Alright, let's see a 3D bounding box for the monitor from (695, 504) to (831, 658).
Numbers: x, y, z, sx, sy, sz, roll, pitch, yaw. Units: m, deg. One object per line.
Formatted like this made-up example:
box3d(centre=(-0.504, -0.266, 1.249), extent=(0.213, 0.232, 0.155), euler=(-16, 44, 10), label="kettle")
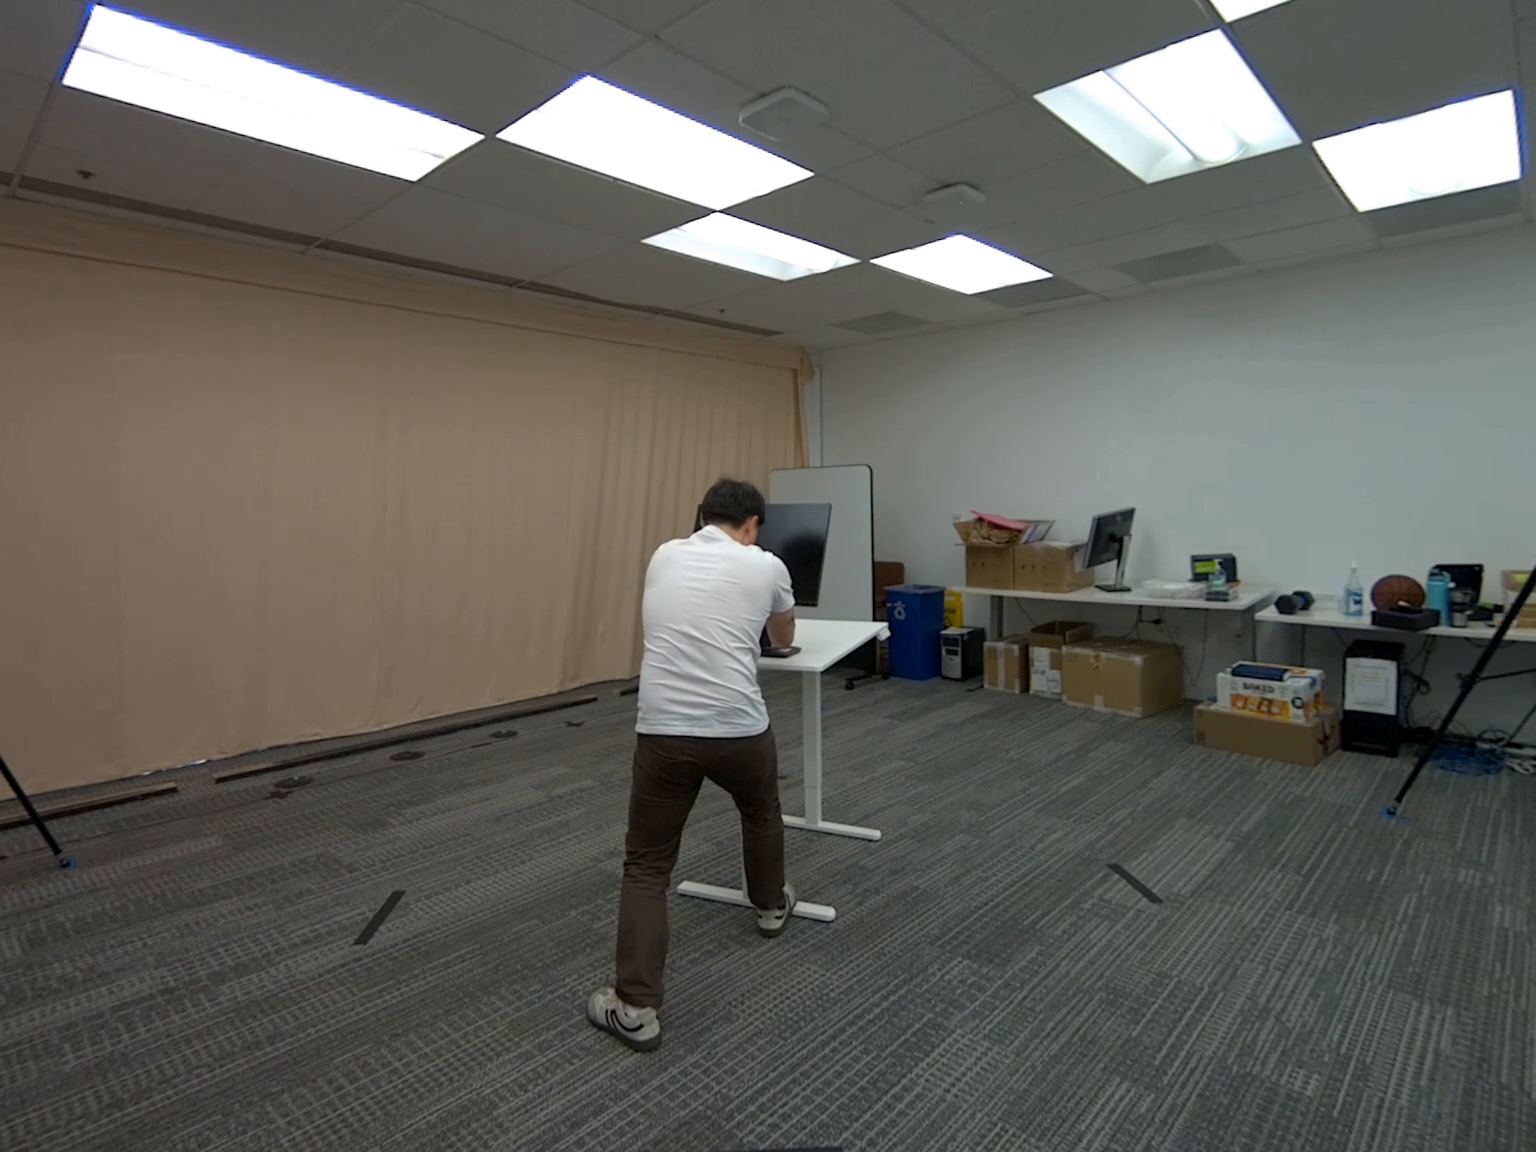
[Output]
box3d(centre=(-0.026, 0.010, 2.926), extent=(0.555, 0.522, 0.182), euler=(3, 1, 30), label="monitor")
